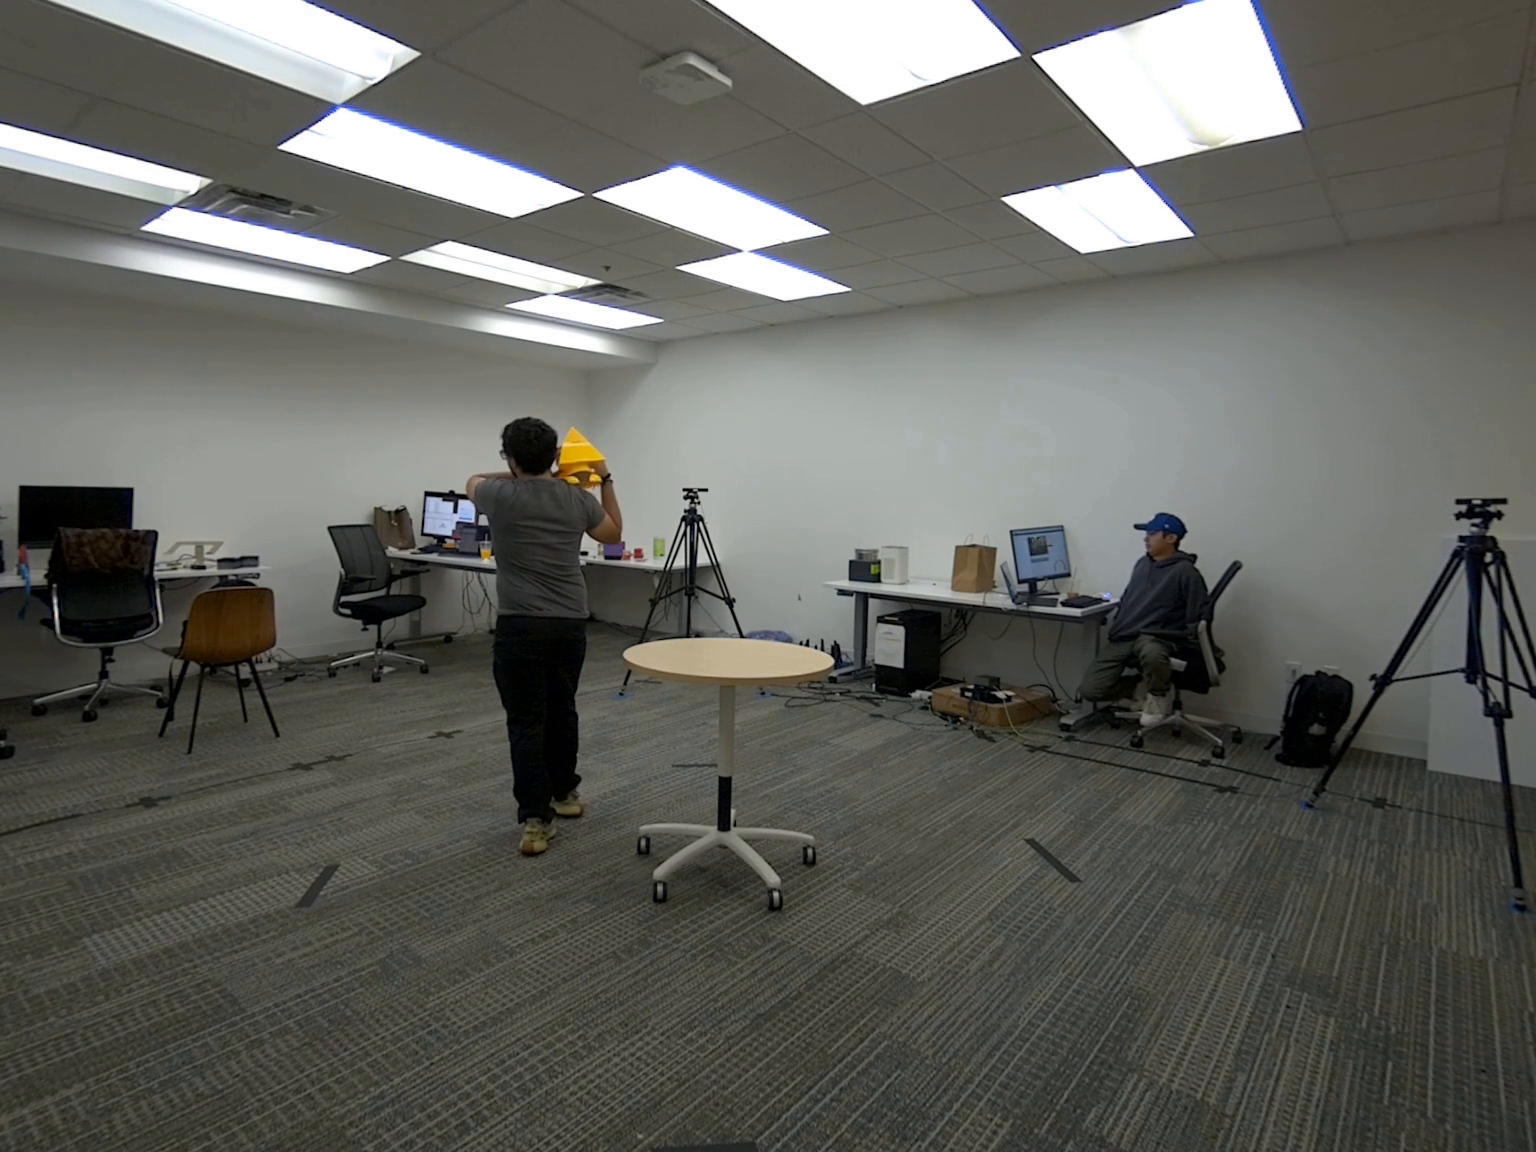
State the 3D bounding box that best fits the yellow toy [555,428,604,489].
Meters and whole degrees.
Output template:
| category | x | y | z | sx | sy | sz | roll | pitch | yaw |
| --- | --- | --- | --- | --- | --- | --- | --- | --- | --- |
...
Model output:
| category | x | y | z | sx | sy | sz | roll | pitch | yaw |
| --- | --- | --- | --- | --- | --- | --- | --- | --- | --- |
| yellow toy | -0.814 | -0.479 | 3.446 | 0.200 | 0.232 | 0.197 | -10 | -5 | -37 |
